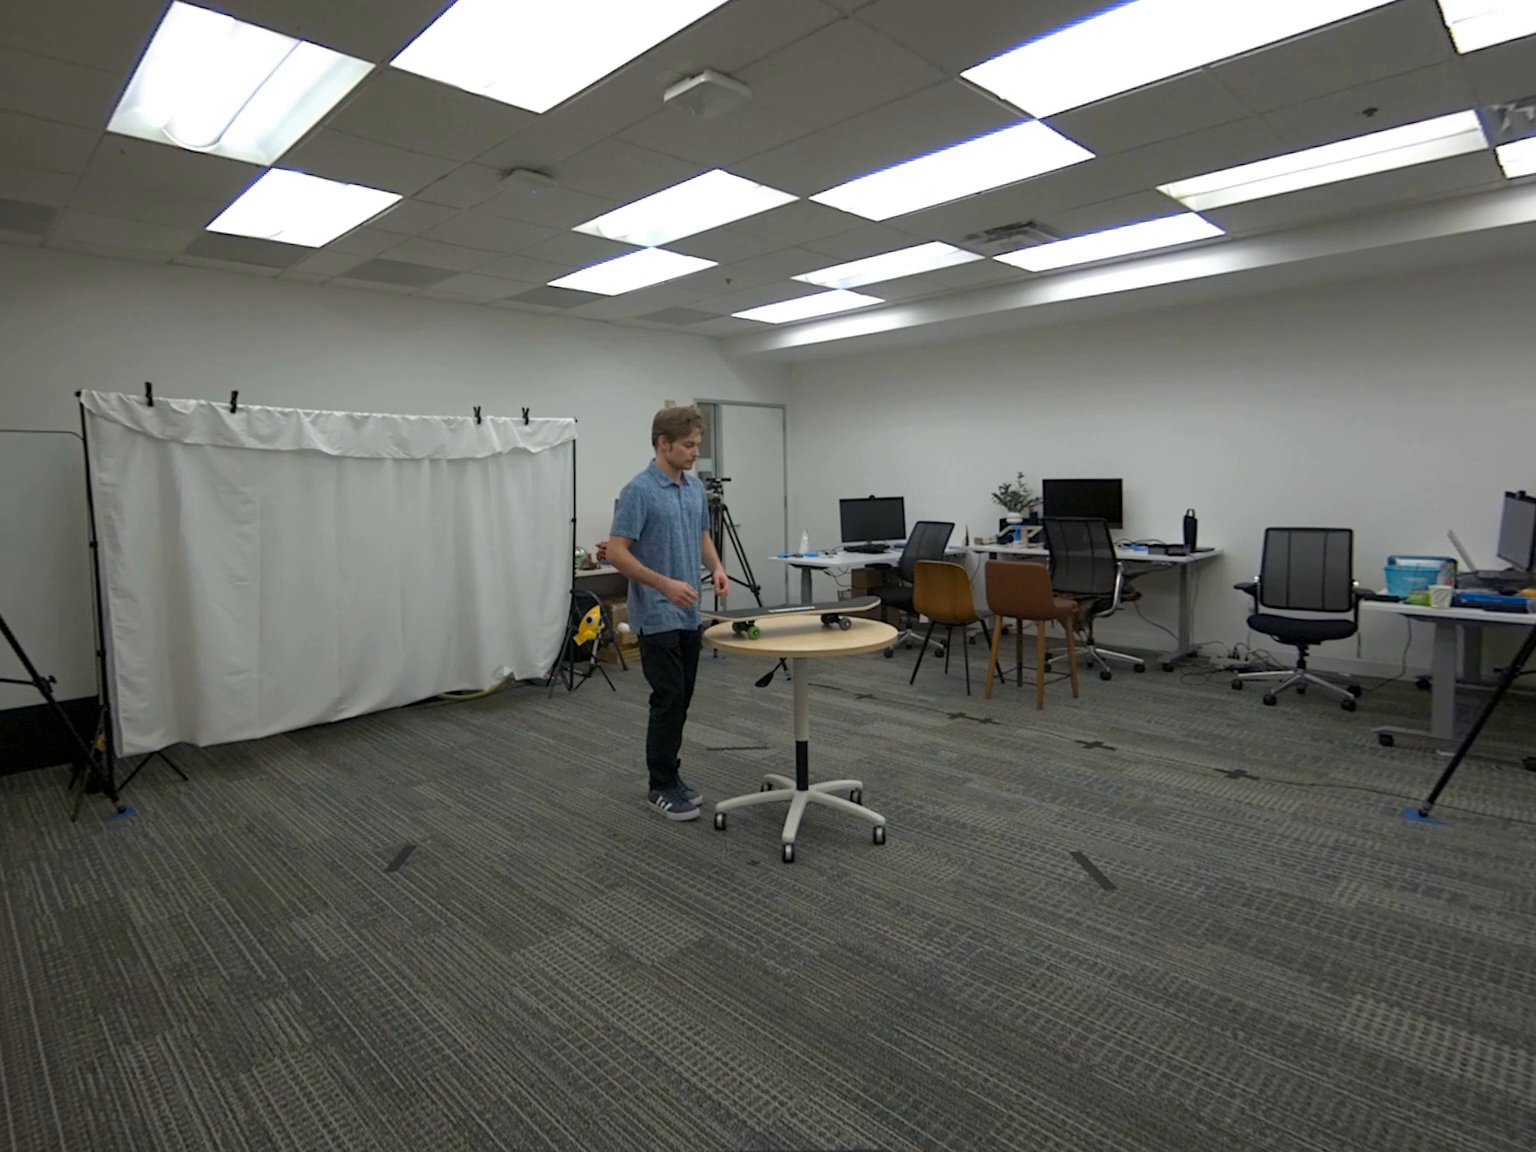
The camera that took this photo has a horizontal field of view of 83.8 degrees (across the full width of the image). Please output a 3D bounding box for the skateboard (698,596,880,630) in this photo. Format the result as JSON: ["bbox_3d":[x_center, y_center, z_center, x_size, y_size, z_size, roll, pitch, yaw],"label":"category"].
[{"bbox_3d":[0.092,0.169,3.392,0.771,0.110,0.198,-4,6,-22],"label":"skateboard"}]
